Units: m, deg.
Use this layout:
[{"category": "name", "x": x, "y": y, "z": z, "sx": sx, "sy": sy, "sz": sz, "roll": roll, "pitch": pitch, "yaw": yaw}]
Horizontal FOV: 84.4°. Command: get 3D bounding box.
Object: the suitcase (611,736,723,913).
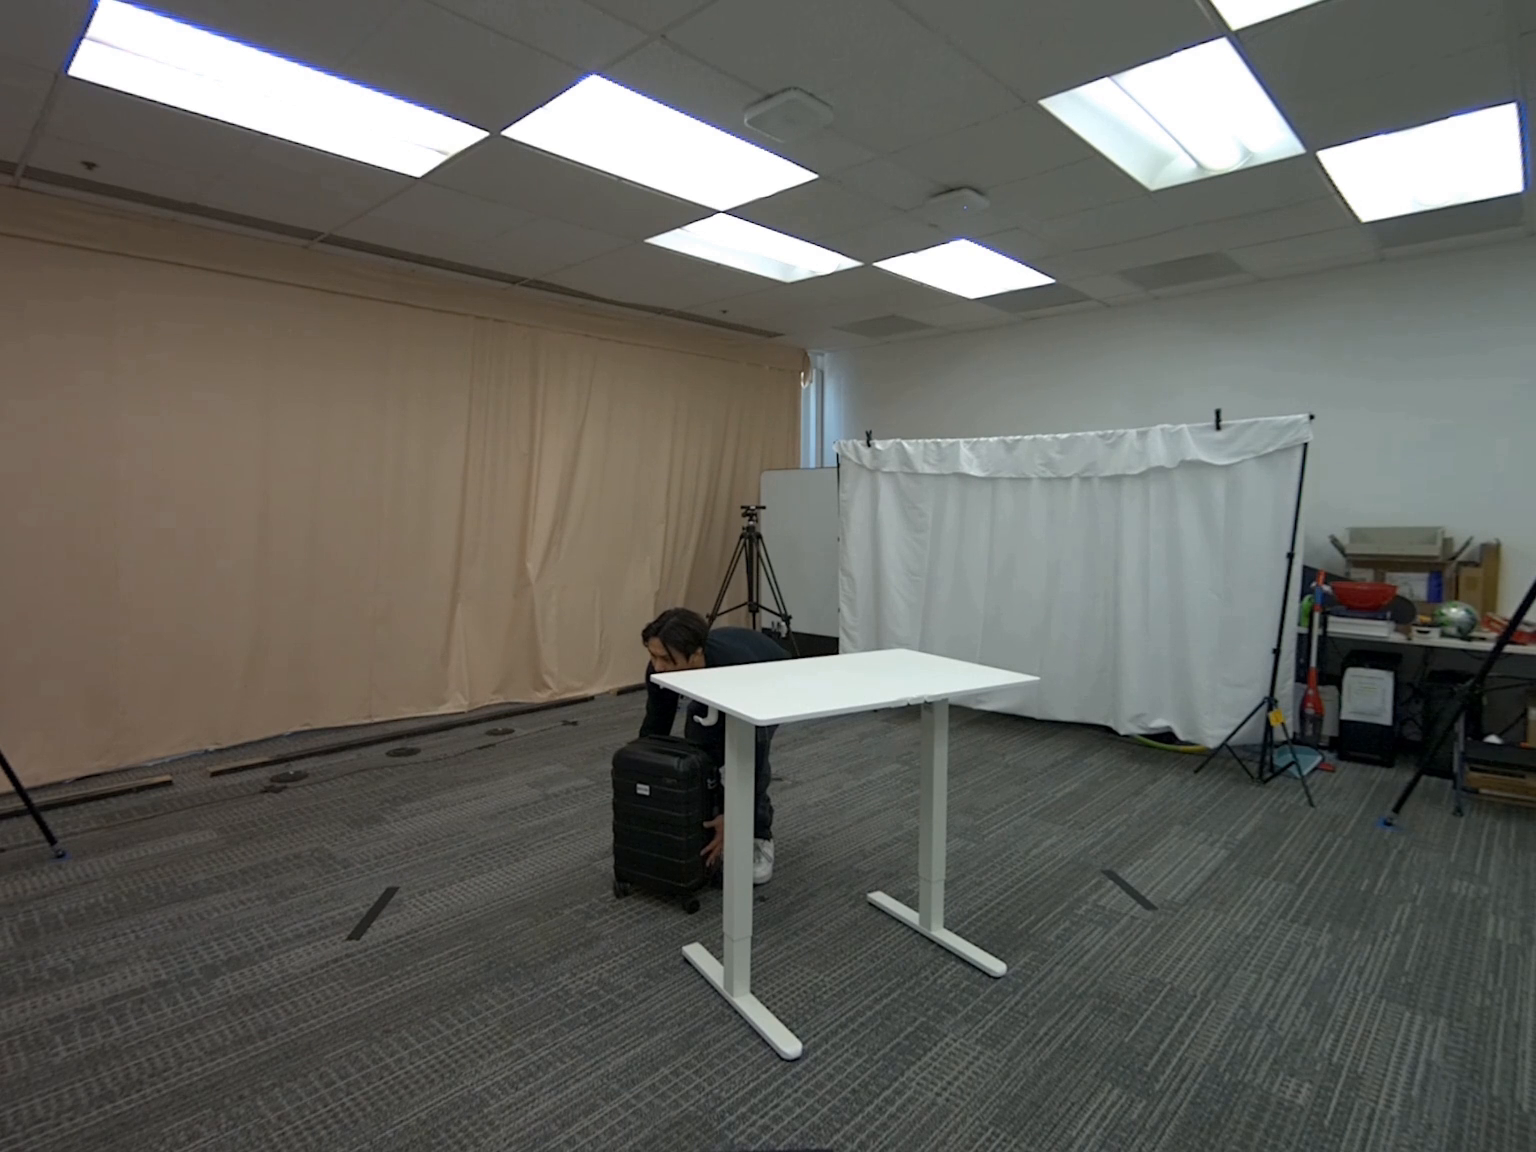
[{"category": "suitcase", "x": -0.367, "y": 0.867, "z": 3.021, "sx": 0.385, "sy": 0.548, "sz": 0.242, "roll": 1, "pitch": 4, "yaw": 27}]
